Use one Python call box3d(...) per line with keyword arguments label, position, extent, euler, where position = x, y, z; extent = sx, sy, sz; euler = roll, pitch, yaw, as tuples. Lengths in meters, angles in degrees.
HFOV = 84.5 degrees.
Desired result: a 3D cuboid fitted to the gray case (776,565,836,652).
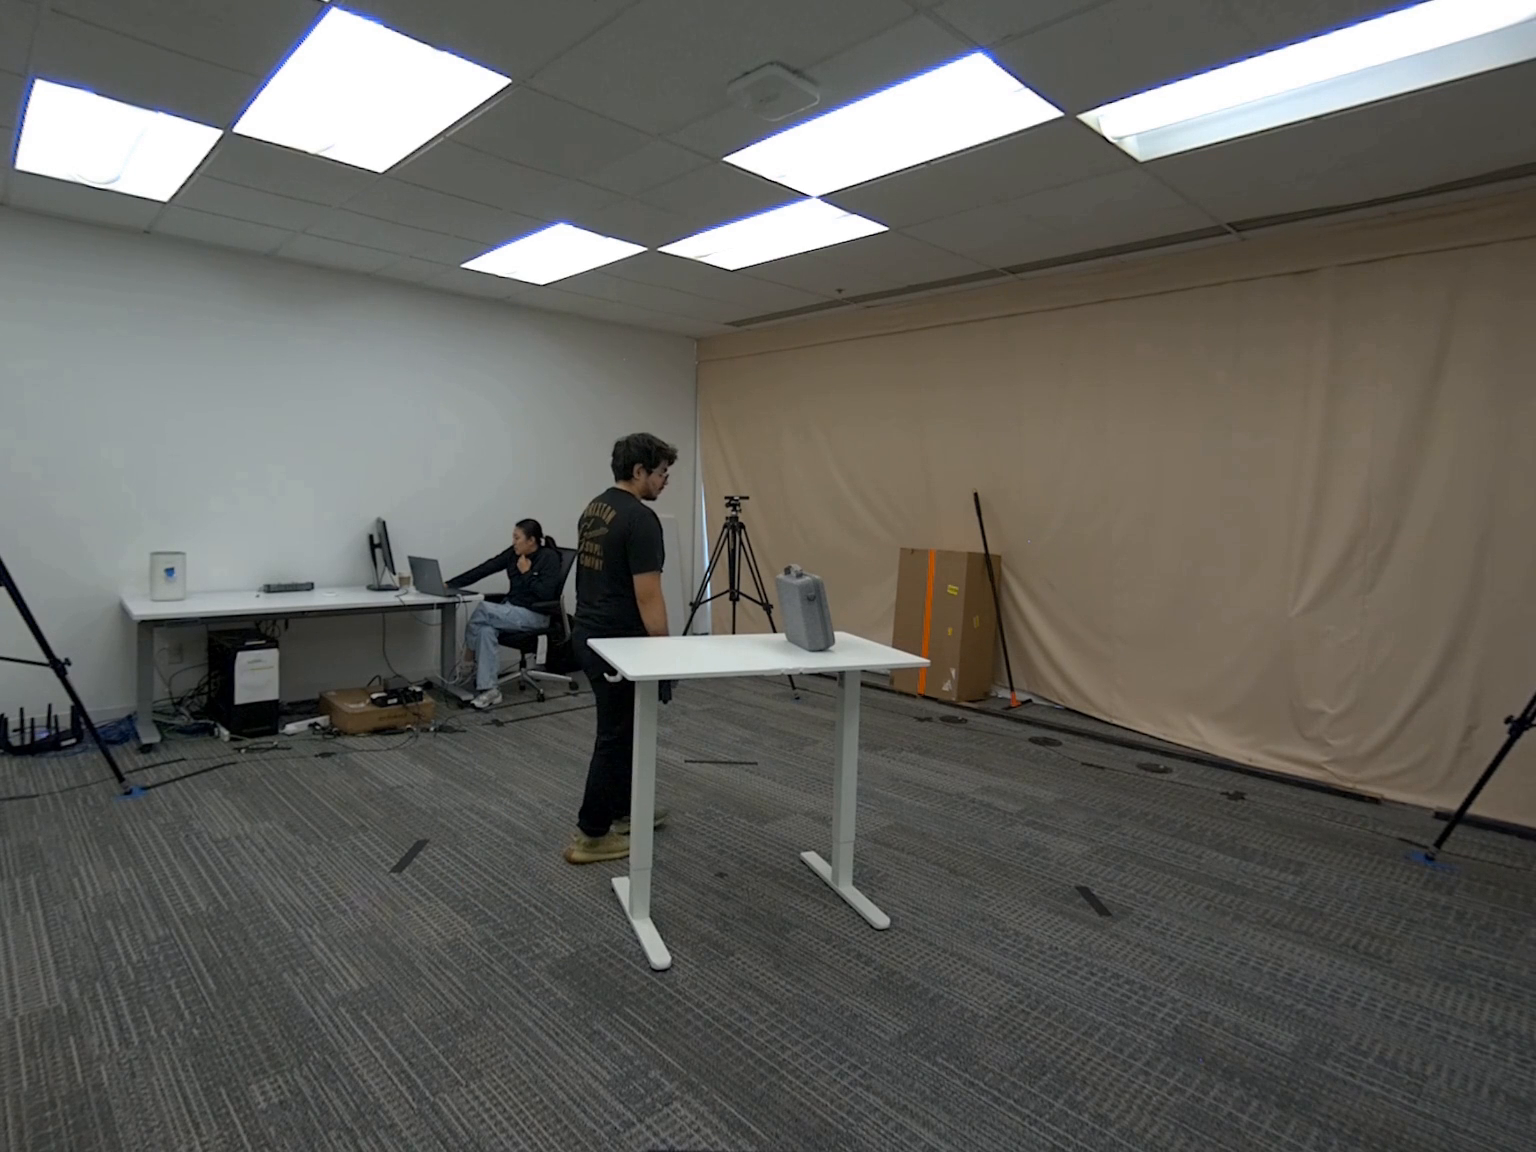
box3d(label="gray case", position=(0.118, 0.118, 2.922), extent=(0.103, 0.259, 0.261), euler=(-7, 7, -16))
